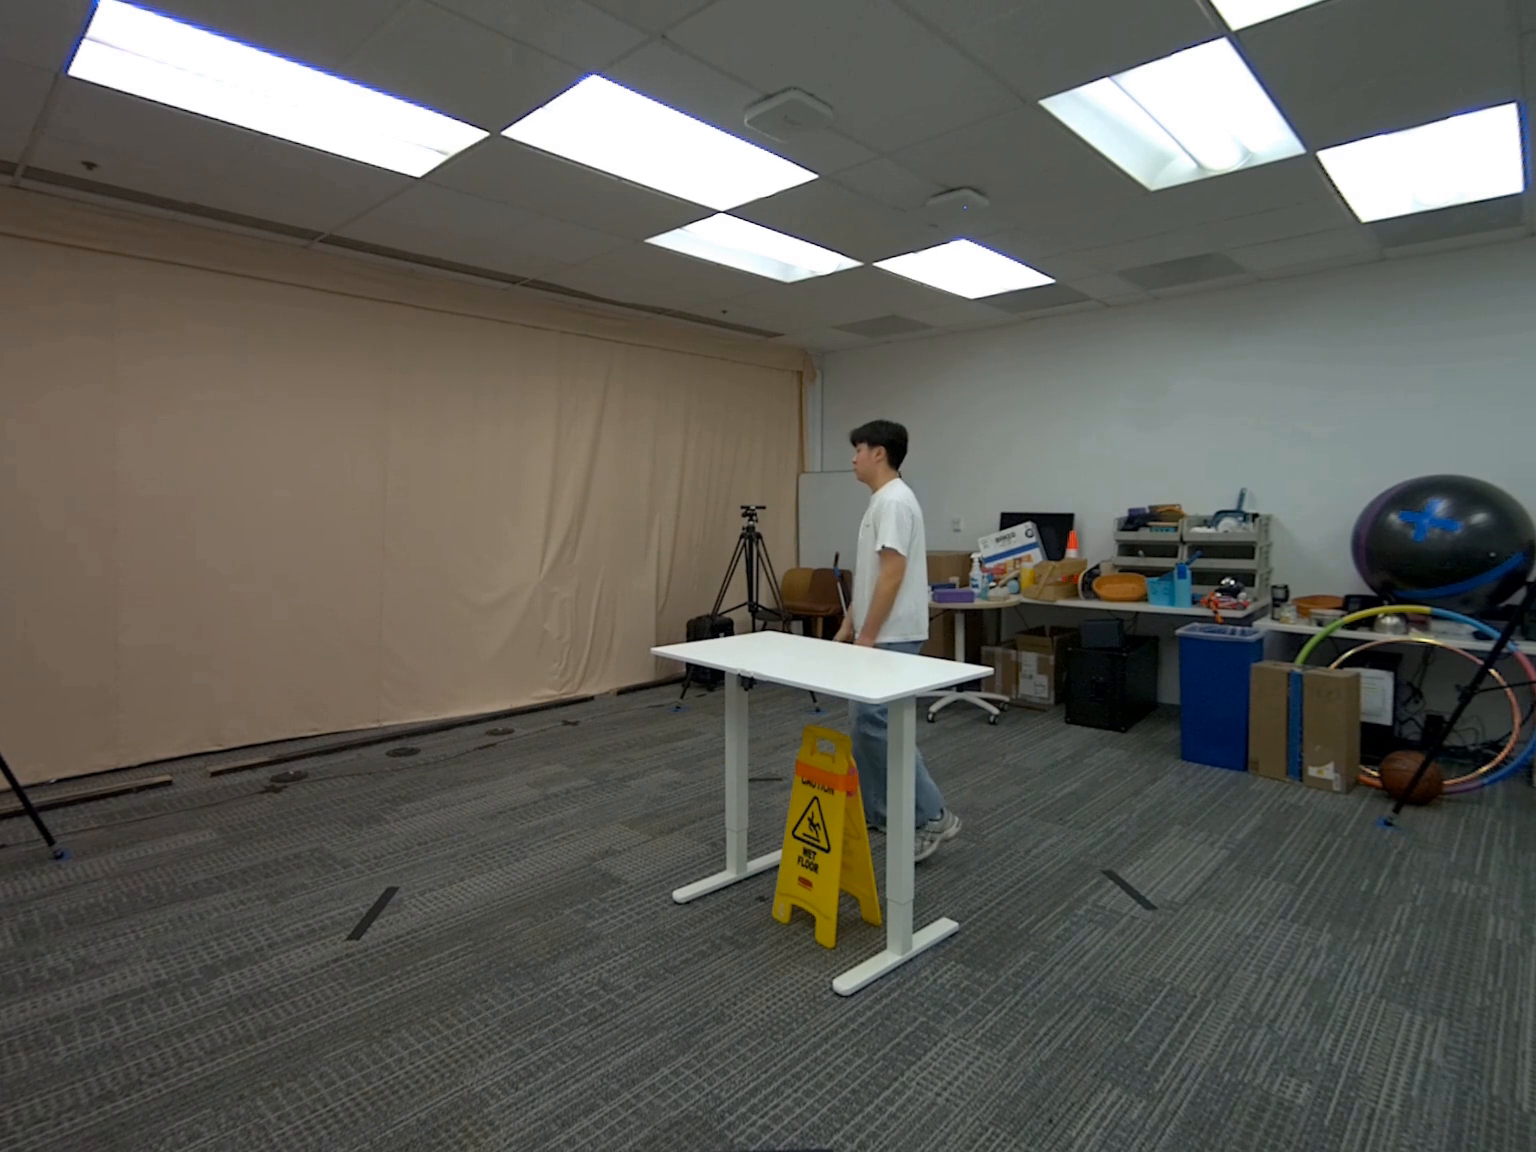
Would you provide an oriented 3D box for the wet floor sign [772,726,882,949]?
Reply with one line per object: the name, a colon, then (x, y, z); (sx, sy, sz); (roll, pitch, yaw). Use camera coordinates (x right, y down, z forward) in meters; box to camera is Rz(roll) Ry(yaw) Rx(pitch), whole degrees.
wet floor sign: (0.196, 0.832, 2.799); (0.281, 0.645, 0.291); (-3, 4, -40)
